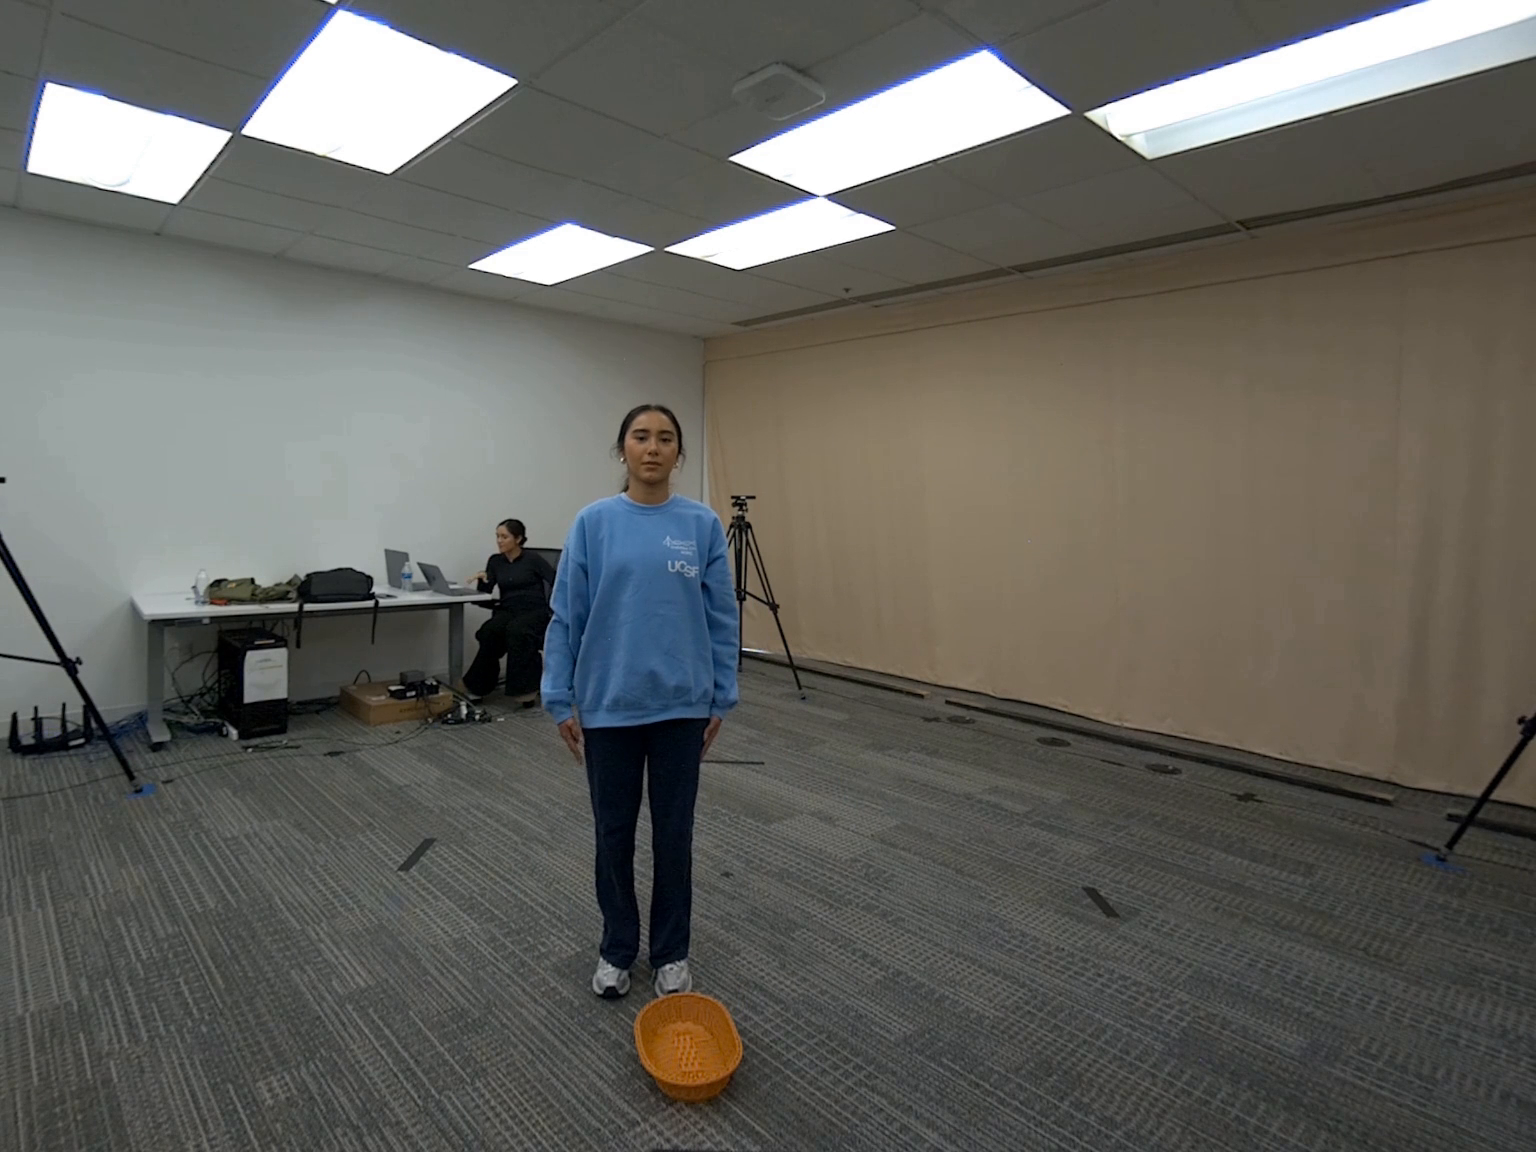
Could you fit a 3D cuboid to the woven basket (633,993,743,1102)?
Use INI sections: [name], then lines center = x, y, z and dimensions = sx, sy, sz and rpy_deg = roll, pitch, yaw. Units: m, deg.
[woven basket]
center = -0.213, 1.164, 2.066
dimensions = 0.250, 0.073, 0.355
rpy_deg = -1, 6, -14
